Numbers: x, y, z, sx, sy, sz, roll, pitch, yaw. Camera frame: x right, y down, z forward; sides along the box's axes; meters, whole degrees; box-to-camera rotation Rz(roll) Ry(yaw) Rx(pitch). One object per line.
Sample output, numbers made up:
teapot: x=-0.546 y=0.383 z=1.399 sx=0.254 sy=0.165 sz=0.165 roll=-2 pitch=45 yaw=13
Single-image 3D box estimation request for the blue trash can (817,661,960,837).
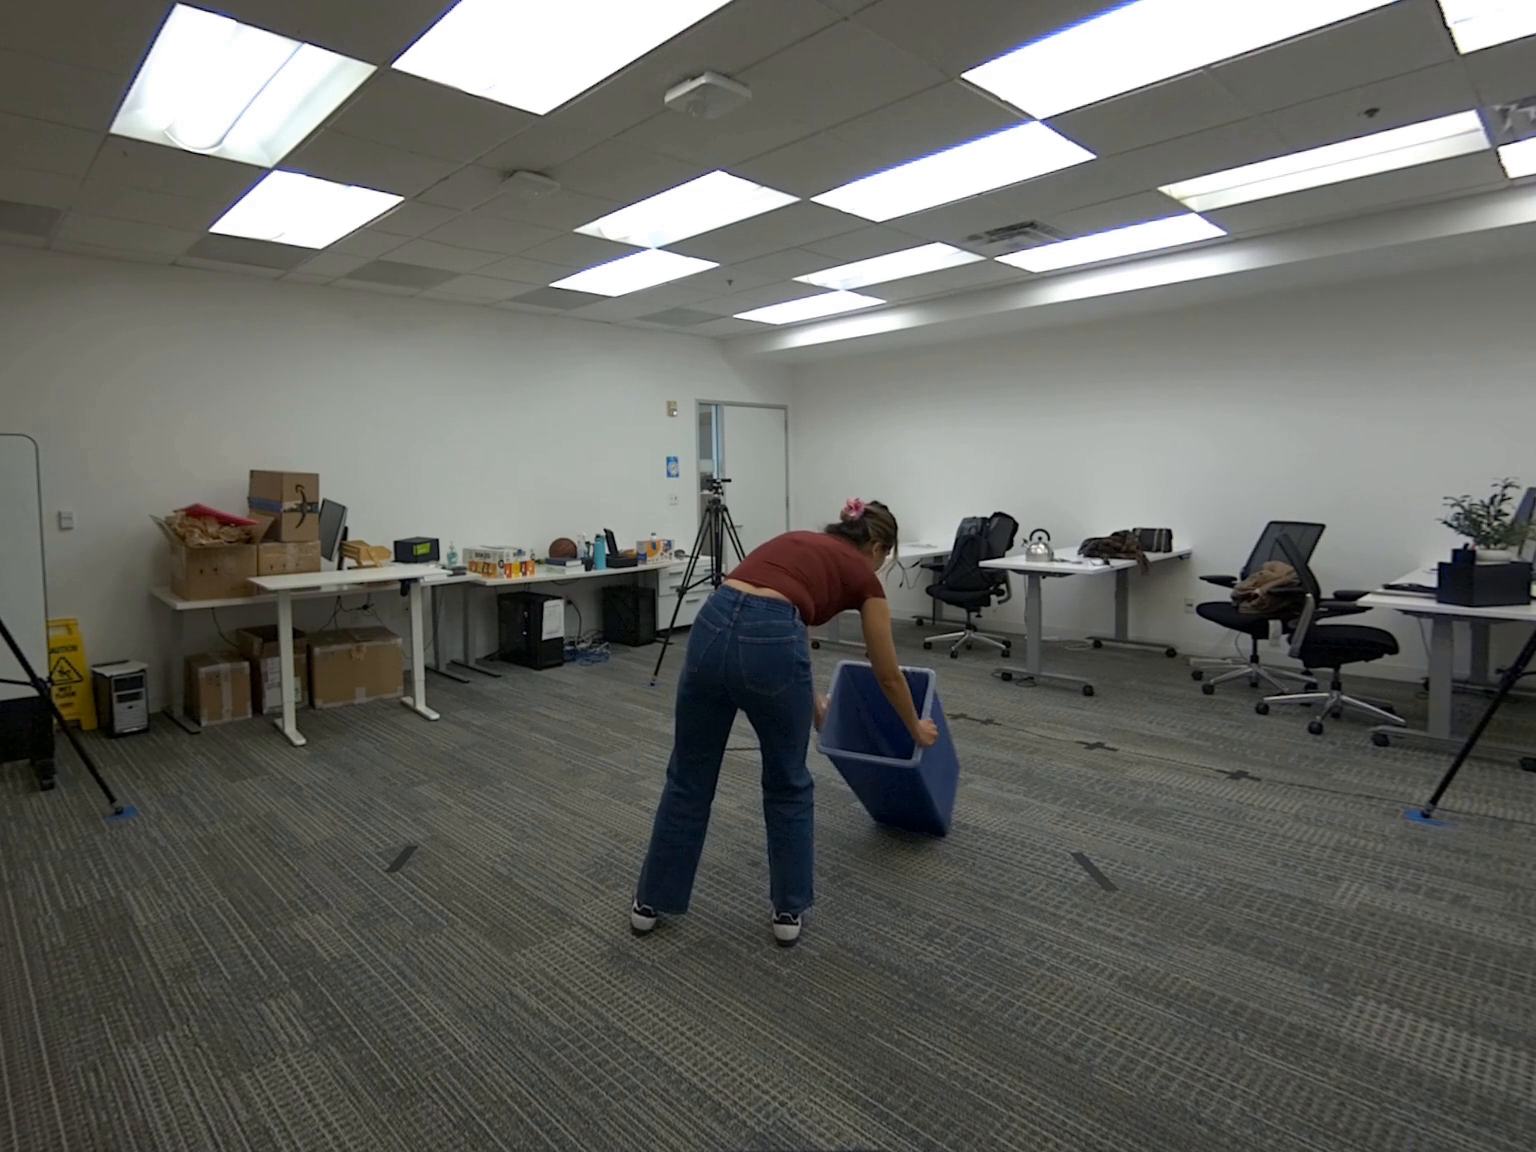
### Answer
blue trash can: x=0.478 y=0.676 z=3.208 sx=0.387 sy=0.379 sz=0.687 roll=2 pitch=-38 yaw=28
